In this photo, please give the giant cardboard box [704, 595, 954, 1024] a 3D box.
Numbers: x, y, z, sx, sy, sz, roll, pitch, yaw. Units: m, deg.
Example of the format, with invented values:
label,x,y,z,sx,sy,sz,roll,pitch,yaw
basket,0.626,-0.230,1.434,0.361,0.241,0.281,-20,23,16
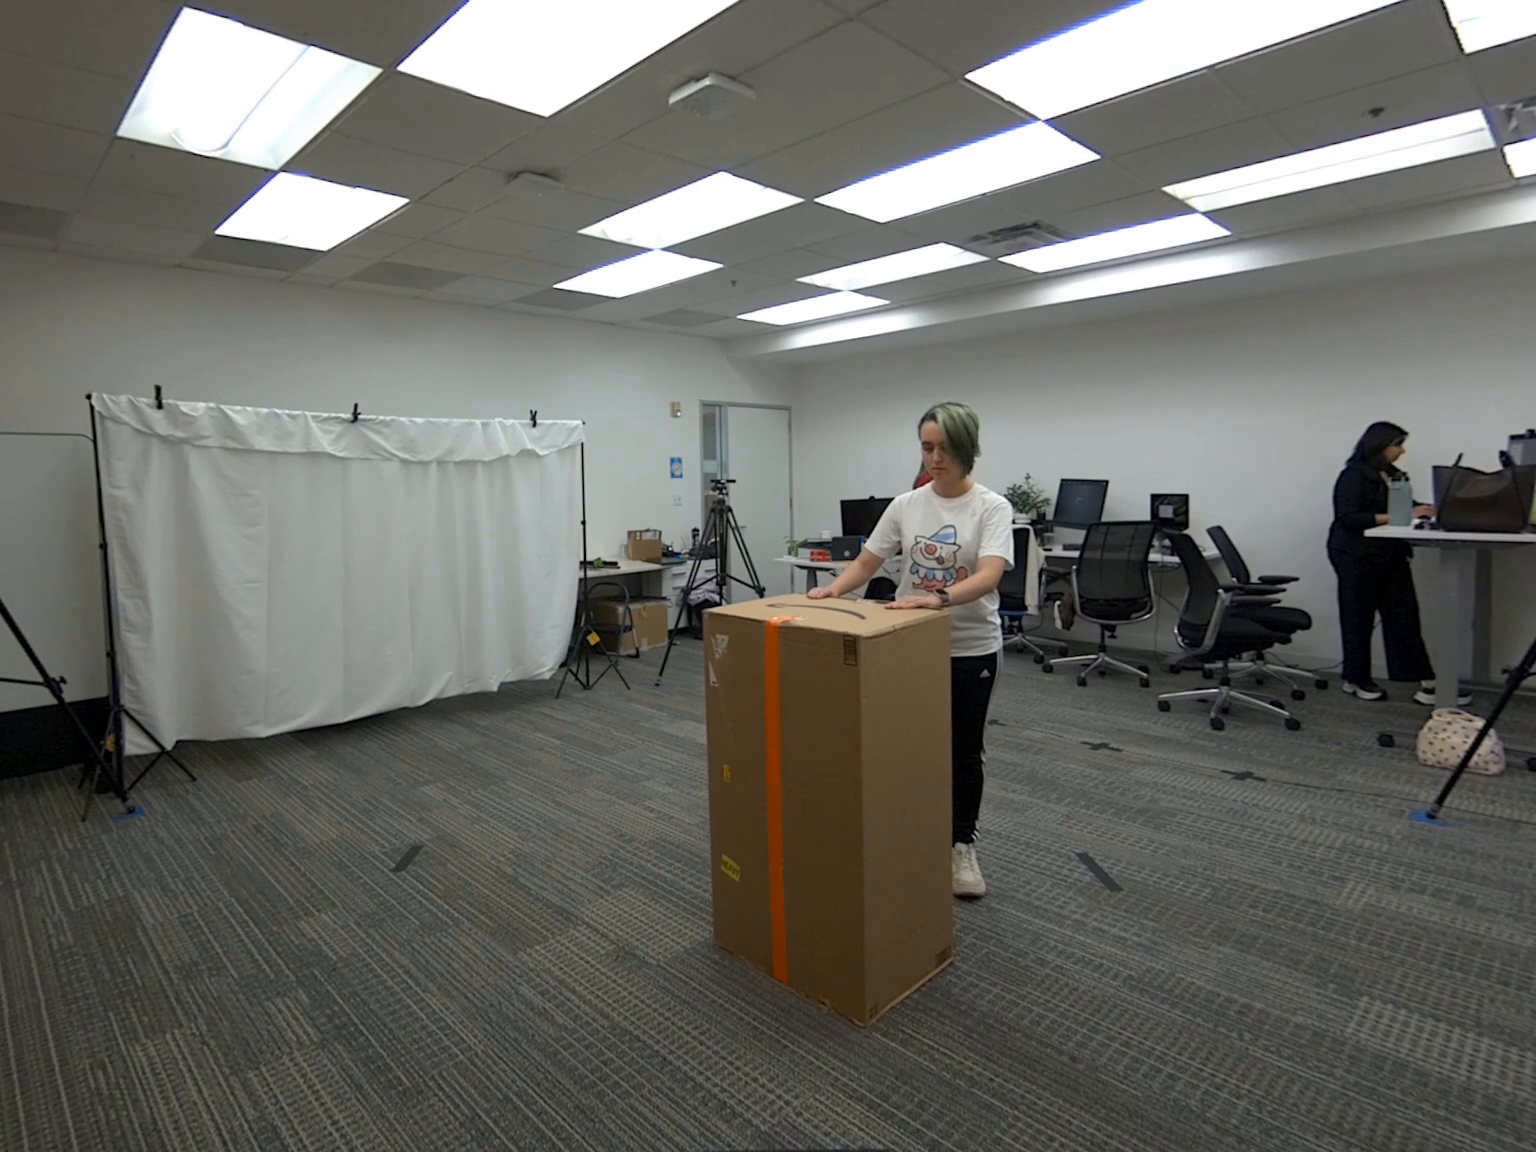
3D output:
label,x,y,z,sx,sy,sz,roll,pitch,yaw
giant cardboard box,0.168,0.609,2.474,0.602,1.022,0.435,4,7,44
